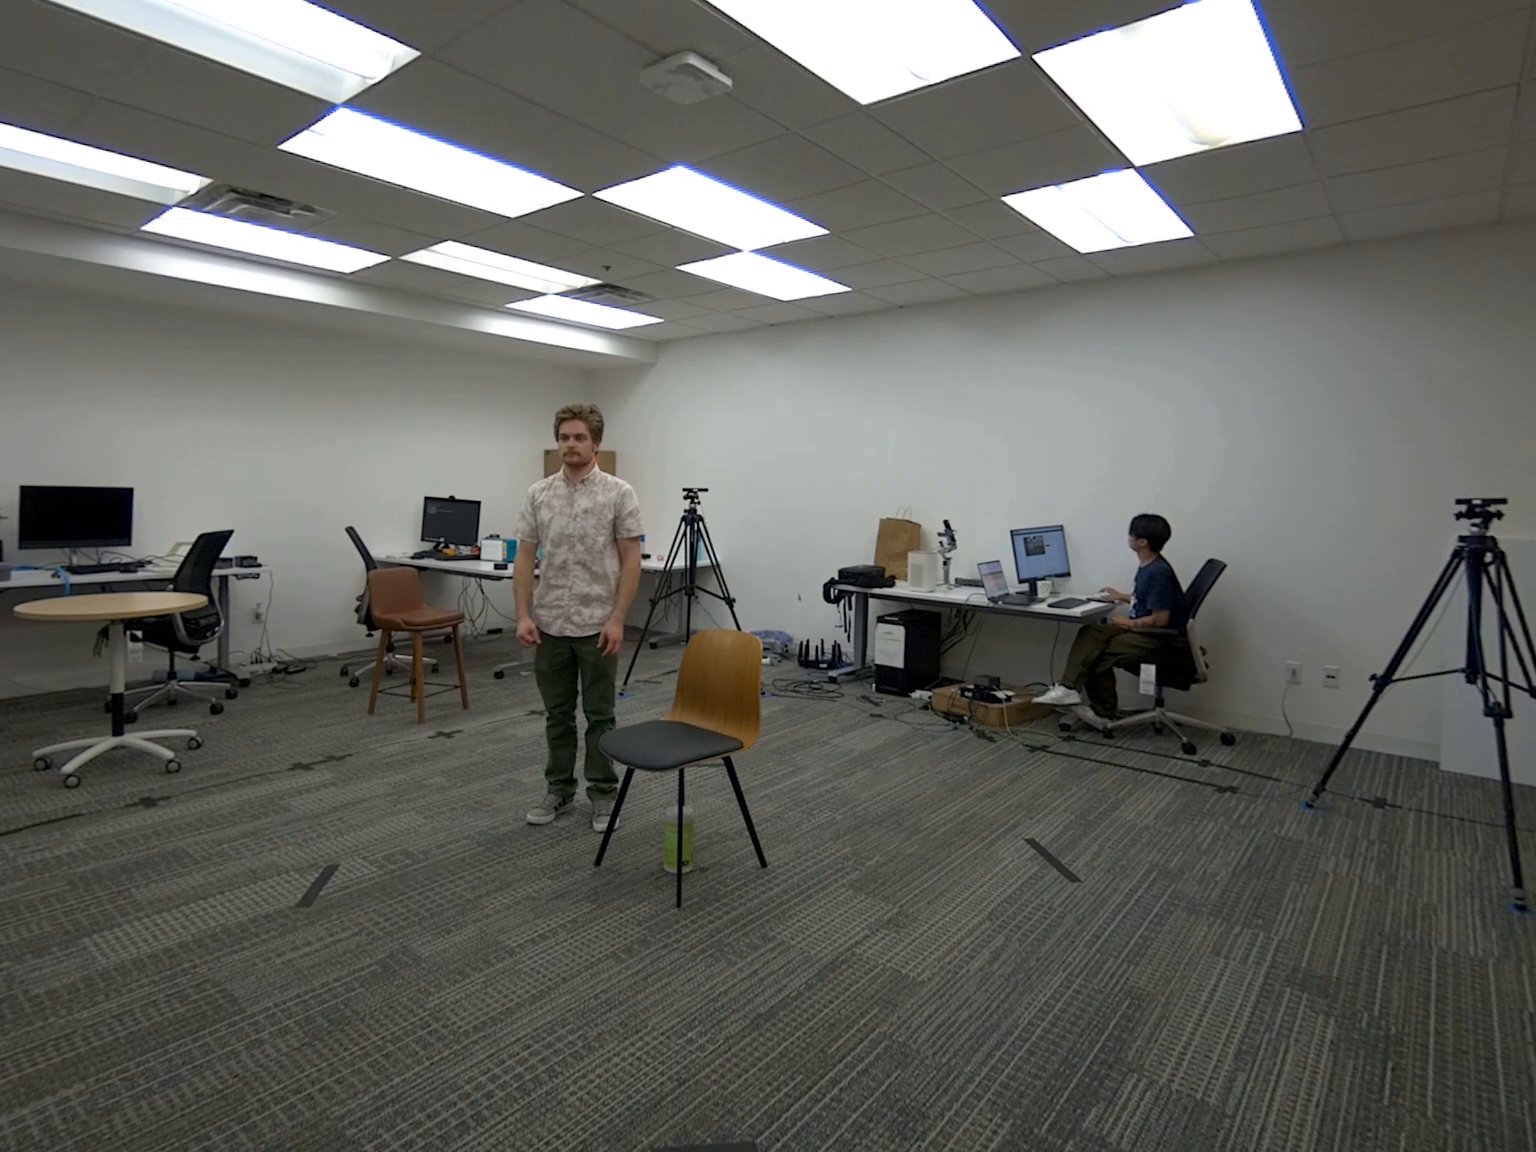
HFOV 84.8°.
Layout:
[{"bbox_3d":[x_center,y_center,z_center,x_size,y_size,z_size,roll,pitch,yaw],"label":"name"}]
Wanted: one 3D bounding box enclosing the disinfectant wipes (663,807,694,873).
[{"bbox_3d":[-0.337,0.973,3.117,0.117,0.217,0.118,6,2,-2],"label":"disinfectant wipes"}]
